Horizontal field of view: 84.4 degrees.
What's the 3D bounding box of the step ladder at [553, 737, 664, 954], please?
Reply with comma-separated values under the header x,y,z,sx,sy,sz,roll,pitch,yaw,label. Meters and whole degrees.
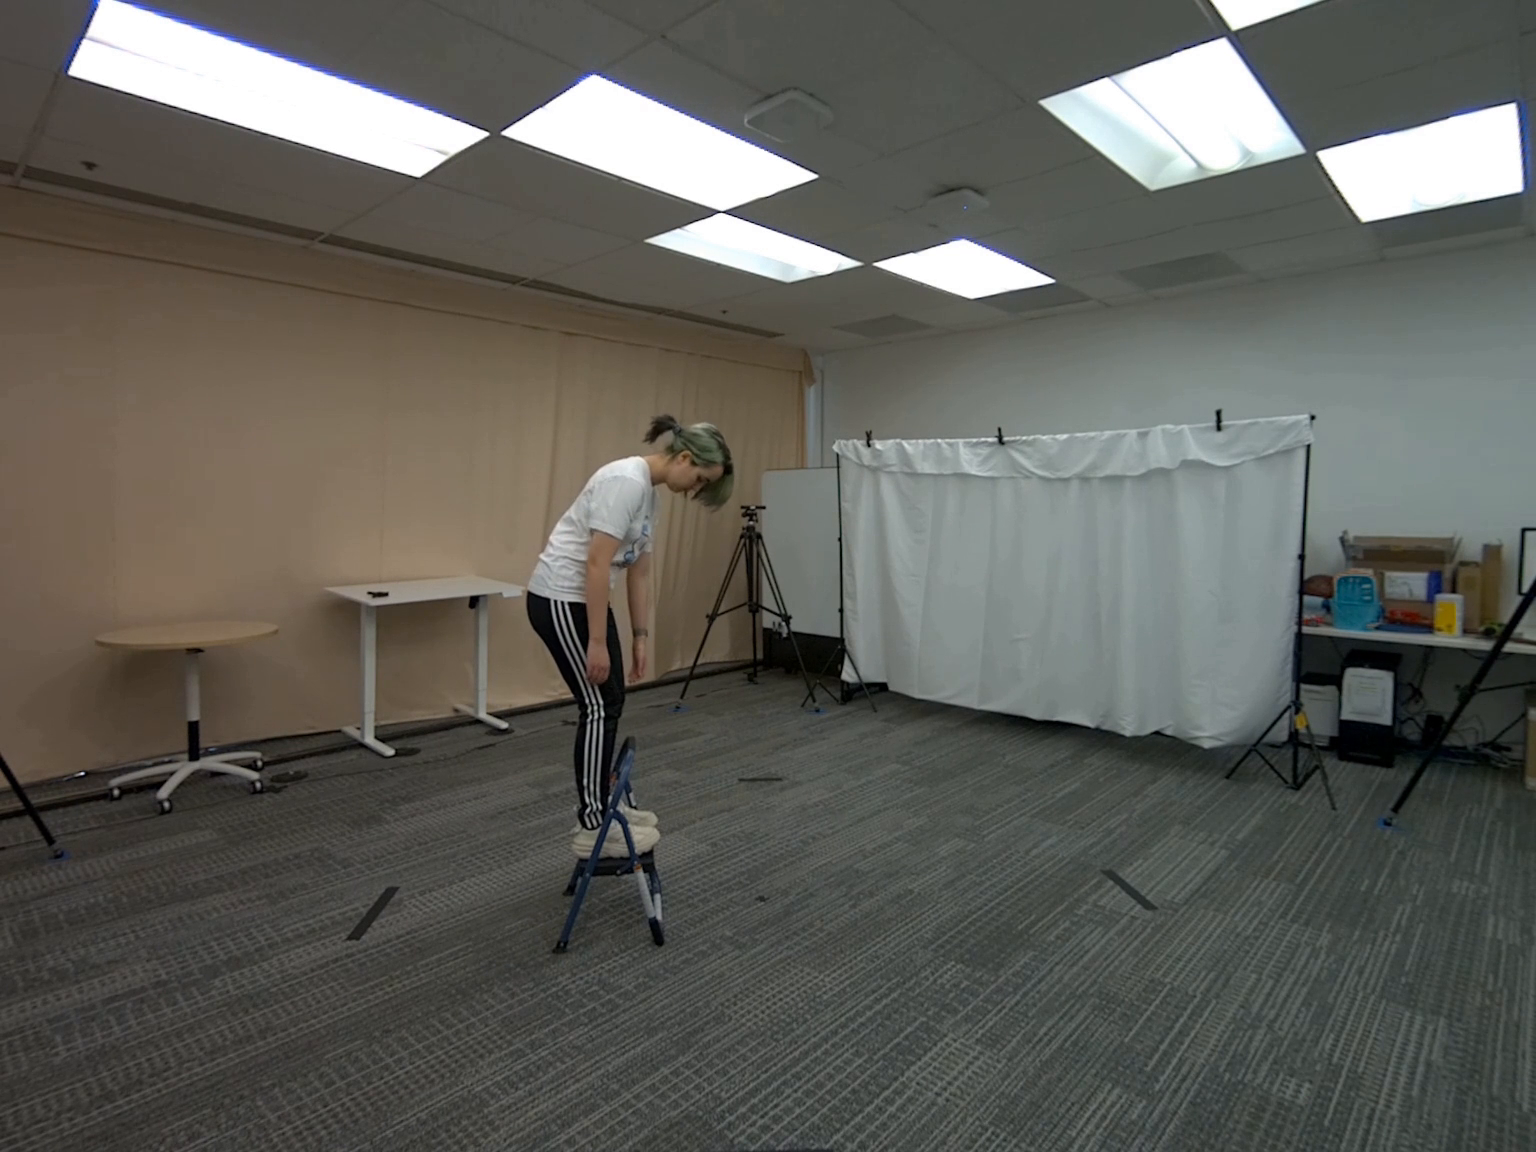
x,y,z,sx,sy,sz,roll,pitch,yaw,label
-0.532,0.864,2.834,0.347,0.605,0.435,-2,4,-8,step ladder
